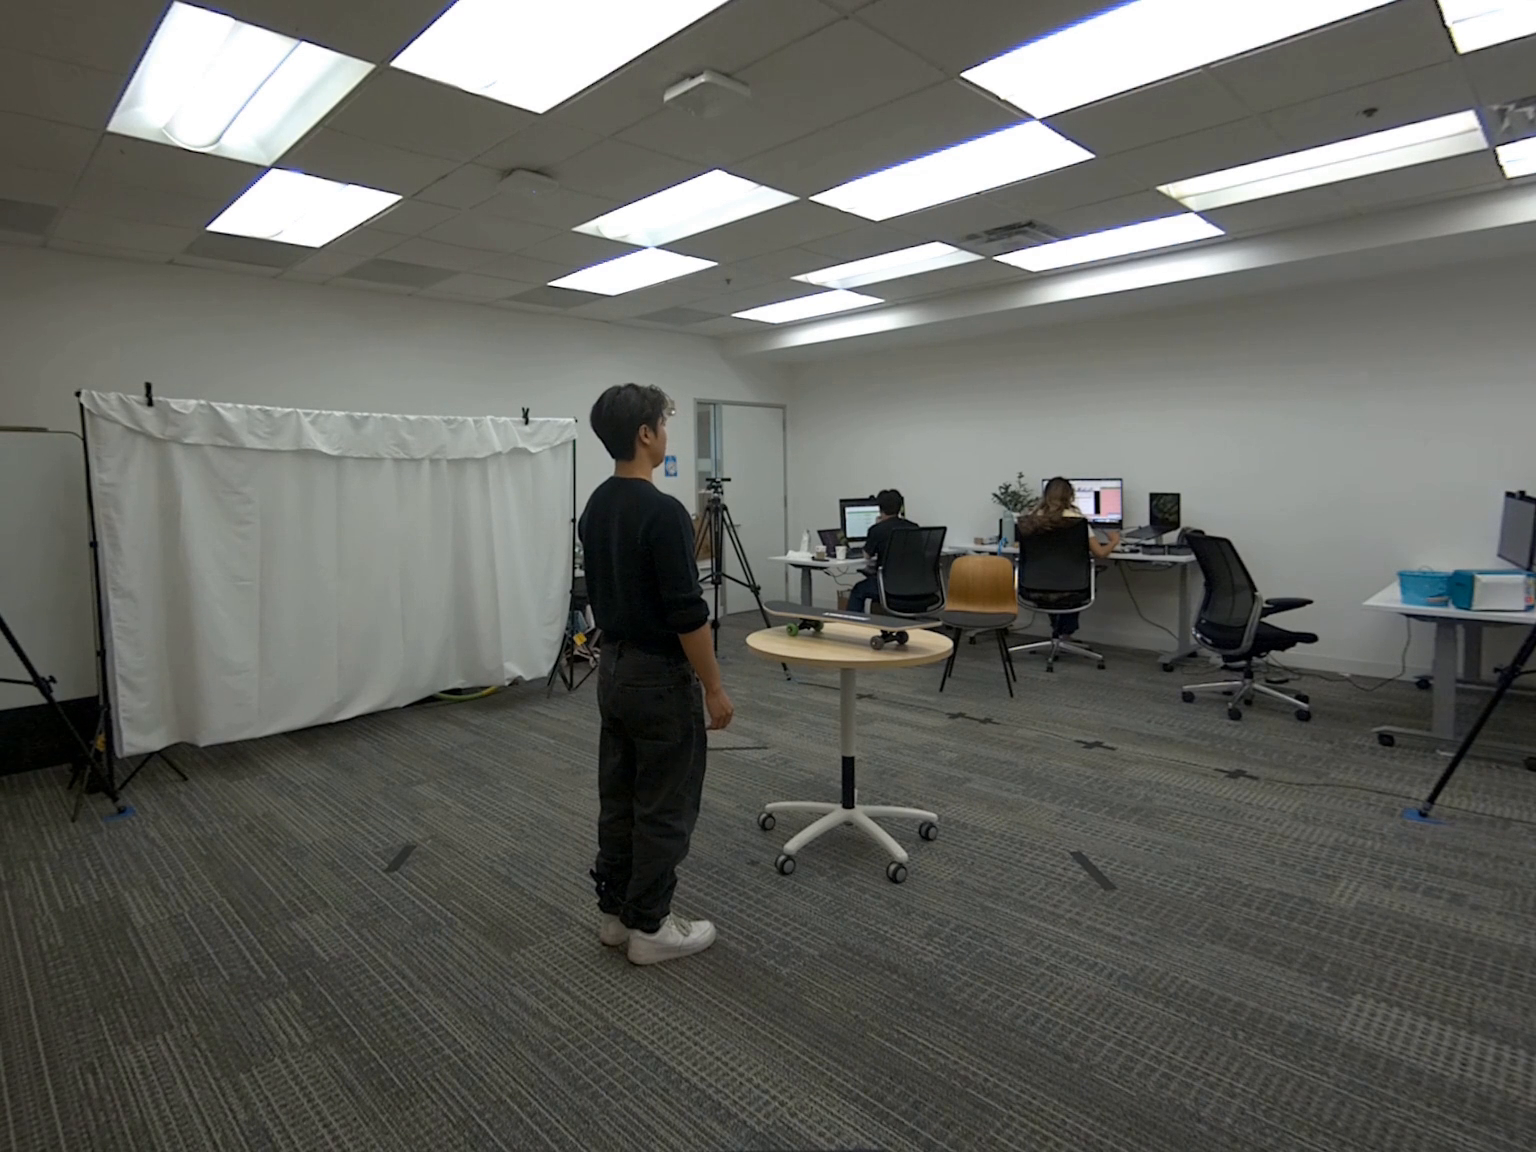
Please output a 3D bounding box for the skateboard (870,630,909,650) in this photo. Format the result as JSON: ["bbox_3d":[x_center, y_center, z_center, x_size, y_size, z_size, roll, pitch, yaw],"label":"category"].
[{"bbox_3d":[0.298,0.193,3.191,0.810,0.110,0.188,5,8,44],"label":"skateboard"}]
